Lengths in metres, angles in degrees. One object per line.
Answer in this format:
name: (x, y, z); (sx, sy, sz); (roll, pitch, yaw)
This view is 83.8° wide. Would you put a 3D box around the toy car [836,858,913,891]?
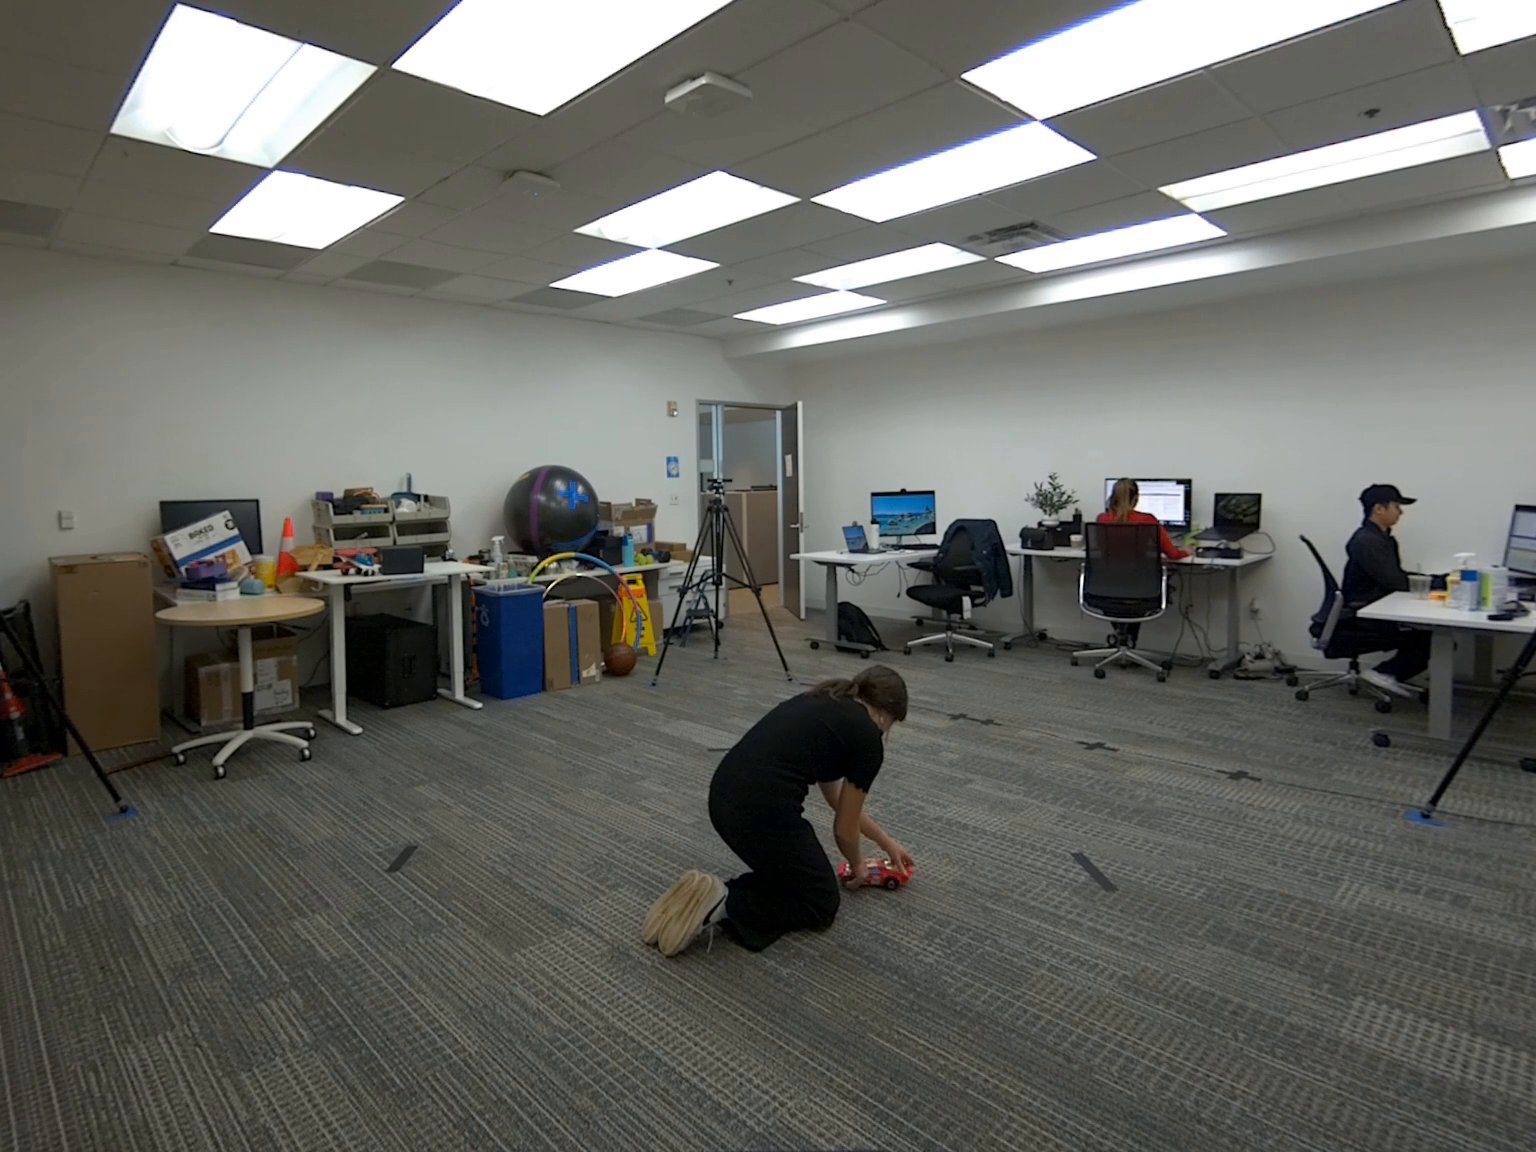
toy car: (0.376, 1.028, 2.935); (0.256, 0.083, 0.130); (-12, 5, 9)
